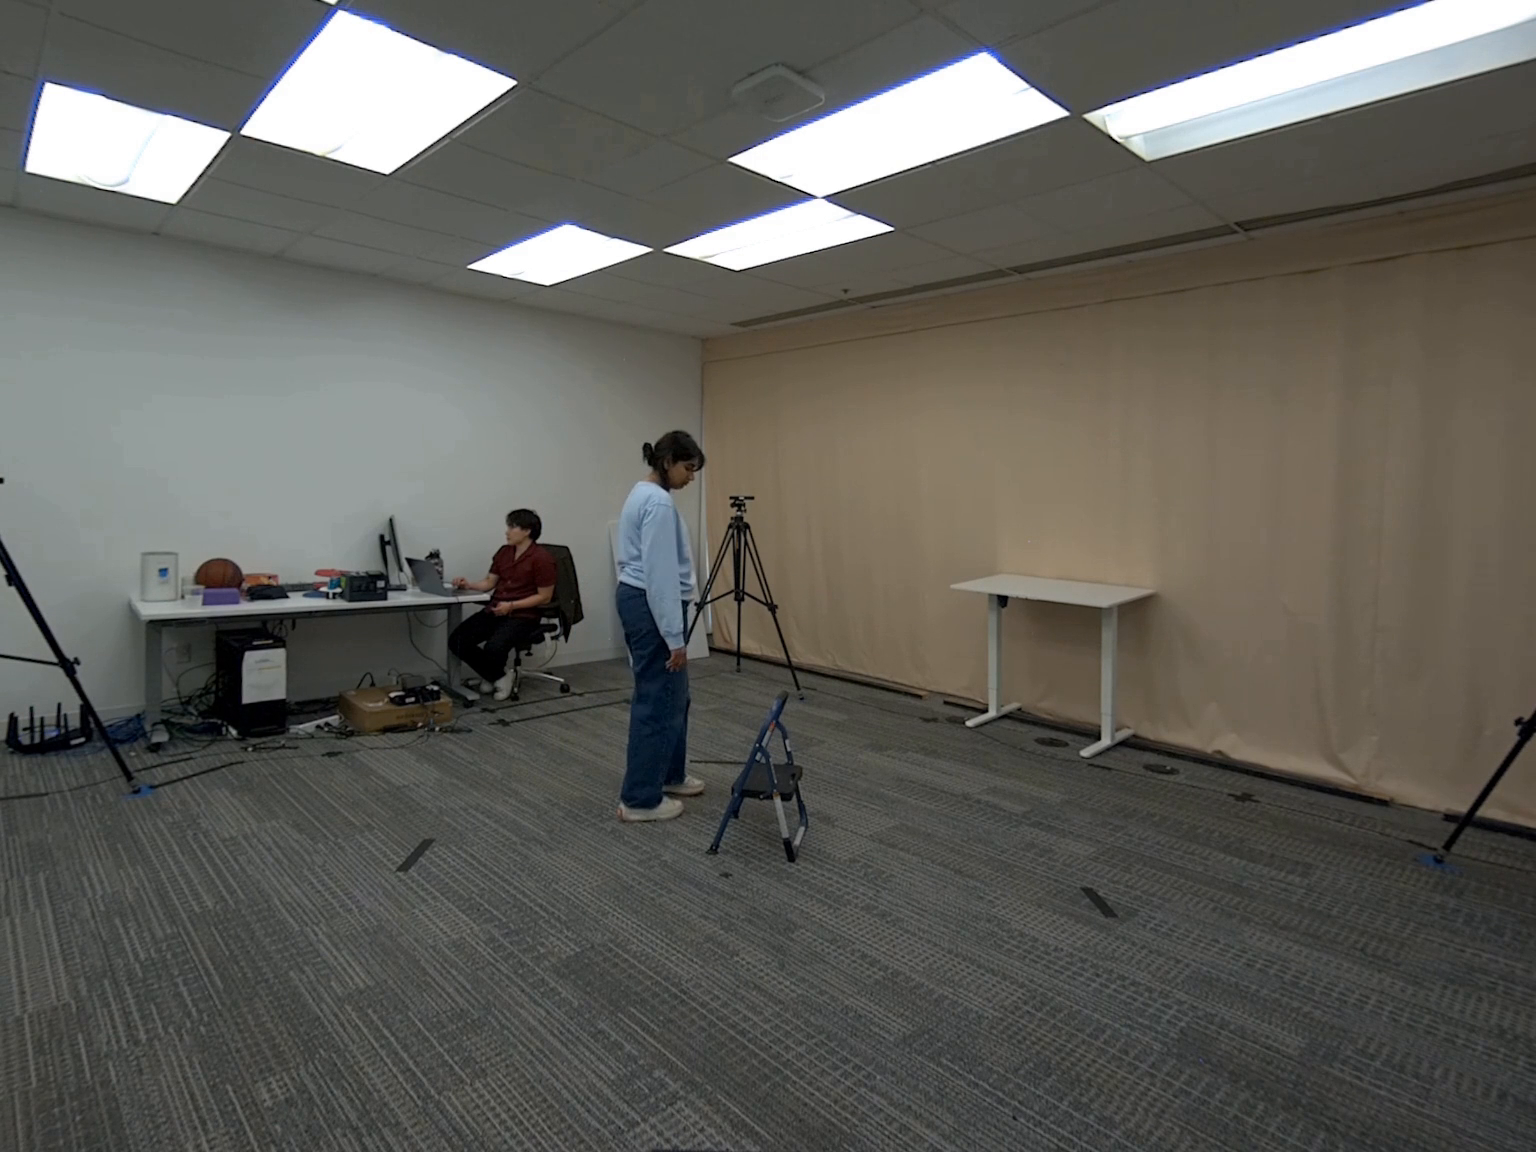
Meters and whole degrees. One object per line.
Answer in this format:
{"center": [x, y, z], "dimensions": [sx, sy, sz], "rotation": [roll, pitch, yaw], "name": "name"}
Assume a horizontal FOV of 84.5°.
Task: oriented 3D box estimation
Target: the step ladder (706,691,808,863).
{"center": [-0.027, 0.777, 3.439], "dimensions": [0.353, 0.605, 0.427], "rotation": [2, 4, 11], "name": "step ladder"}
